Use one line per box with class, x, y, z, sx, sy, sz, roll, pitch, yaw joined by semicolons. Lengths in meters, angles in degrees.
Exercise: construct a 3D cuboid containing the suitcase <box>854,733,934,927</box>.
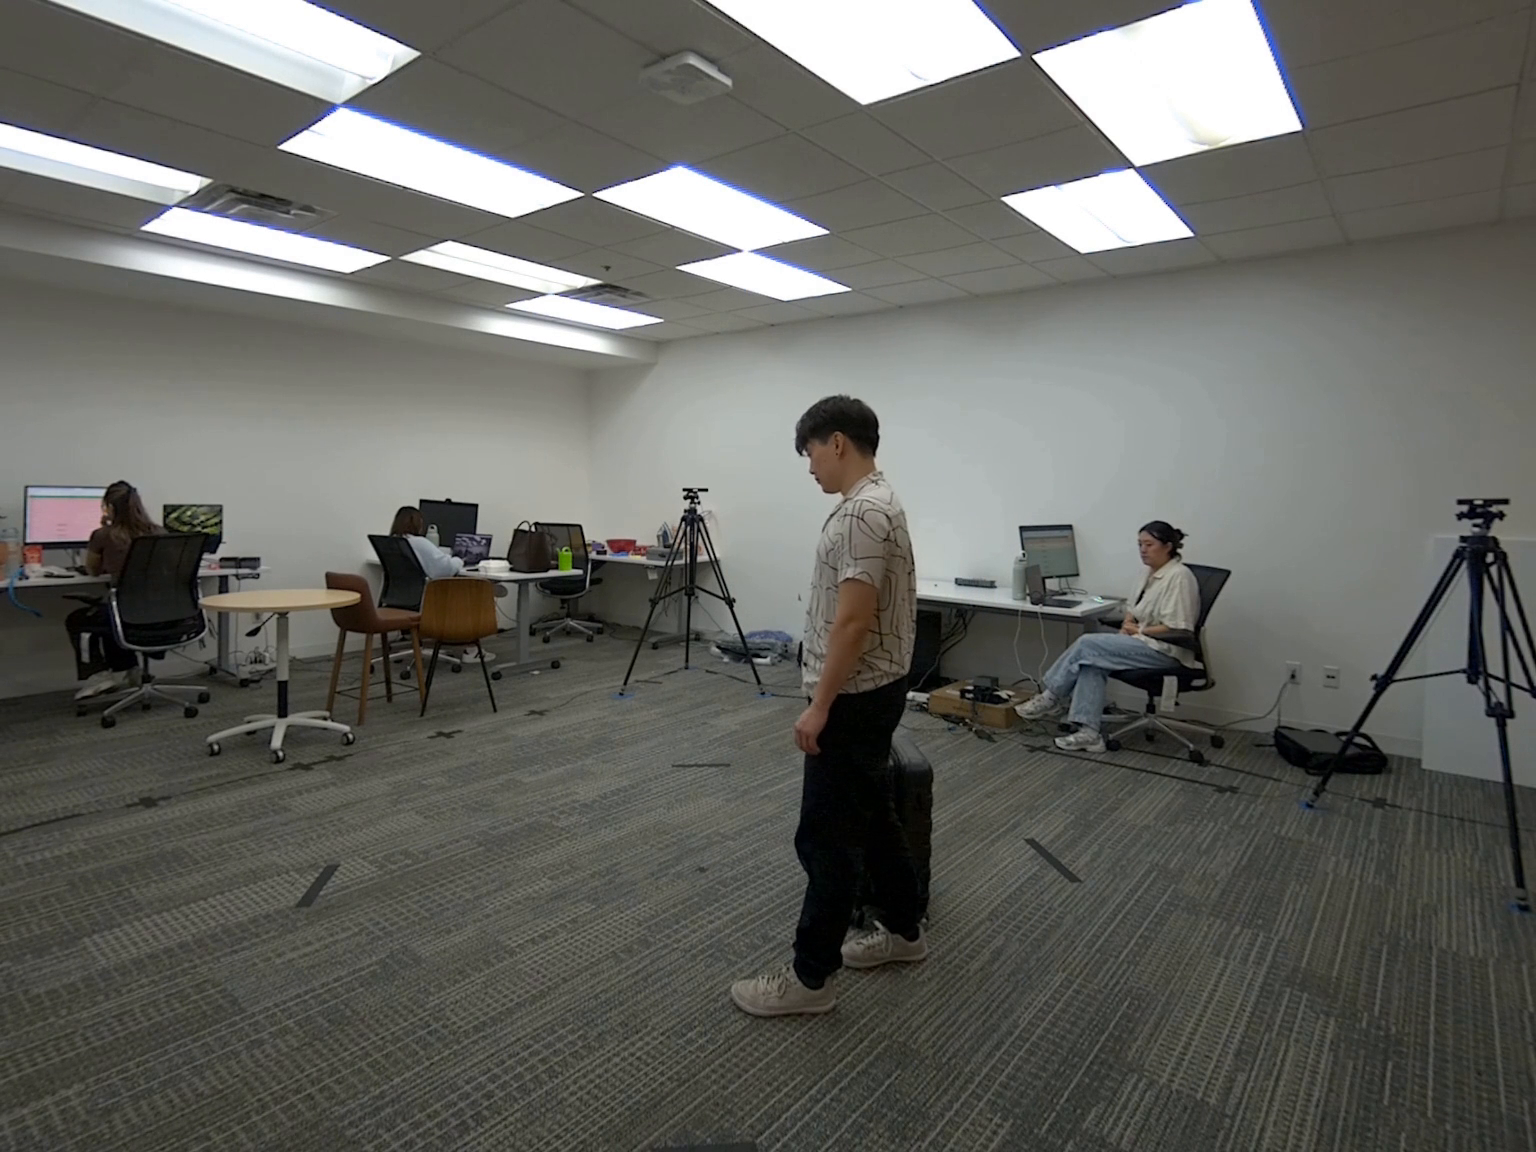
suitcase;0.394;0.831;2.877;0.248;0.548;0.376;2;2;-2
